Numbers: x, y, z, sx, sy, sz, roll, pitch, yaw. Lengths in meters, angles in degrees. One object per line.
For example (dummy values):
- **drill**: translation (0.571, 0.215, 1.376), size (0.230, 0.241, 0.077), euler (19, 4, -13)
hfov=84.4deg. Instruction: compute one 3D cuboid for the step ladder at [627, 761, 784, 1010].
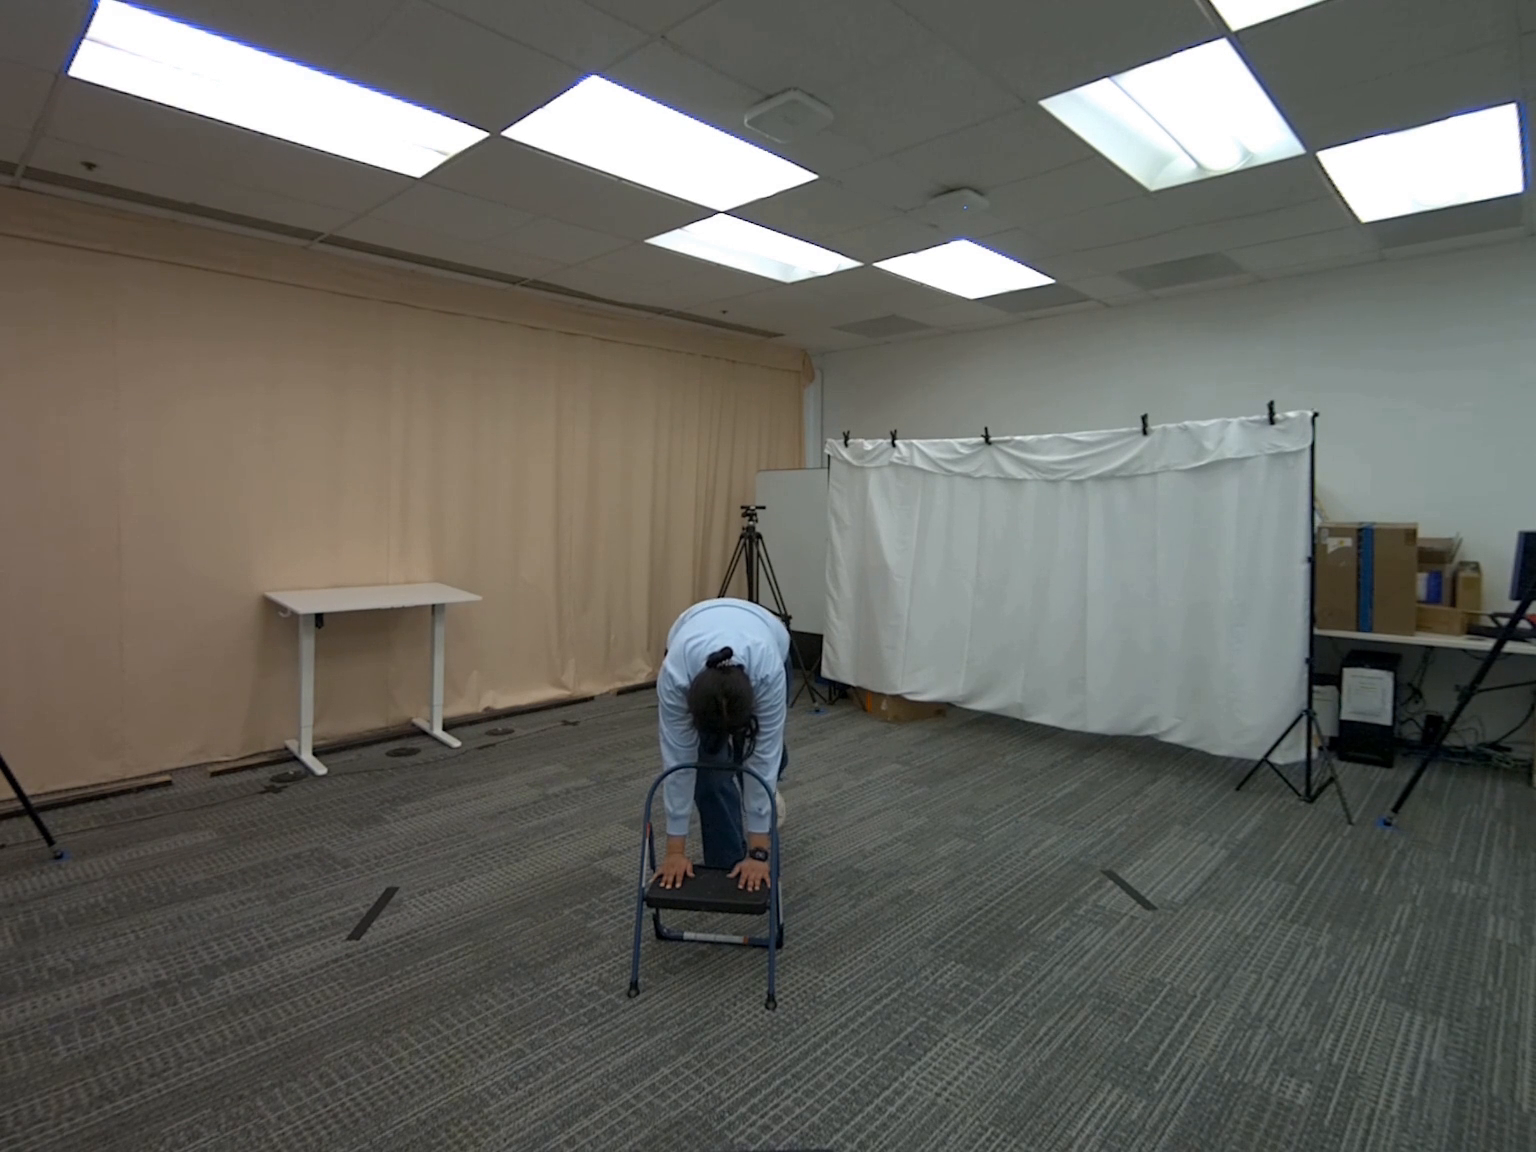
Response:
- **step ladder**: translation (-0.171, 0.880, 2.515), size (0.434, 0.605, 0.347), euler (1, 3, 7)
